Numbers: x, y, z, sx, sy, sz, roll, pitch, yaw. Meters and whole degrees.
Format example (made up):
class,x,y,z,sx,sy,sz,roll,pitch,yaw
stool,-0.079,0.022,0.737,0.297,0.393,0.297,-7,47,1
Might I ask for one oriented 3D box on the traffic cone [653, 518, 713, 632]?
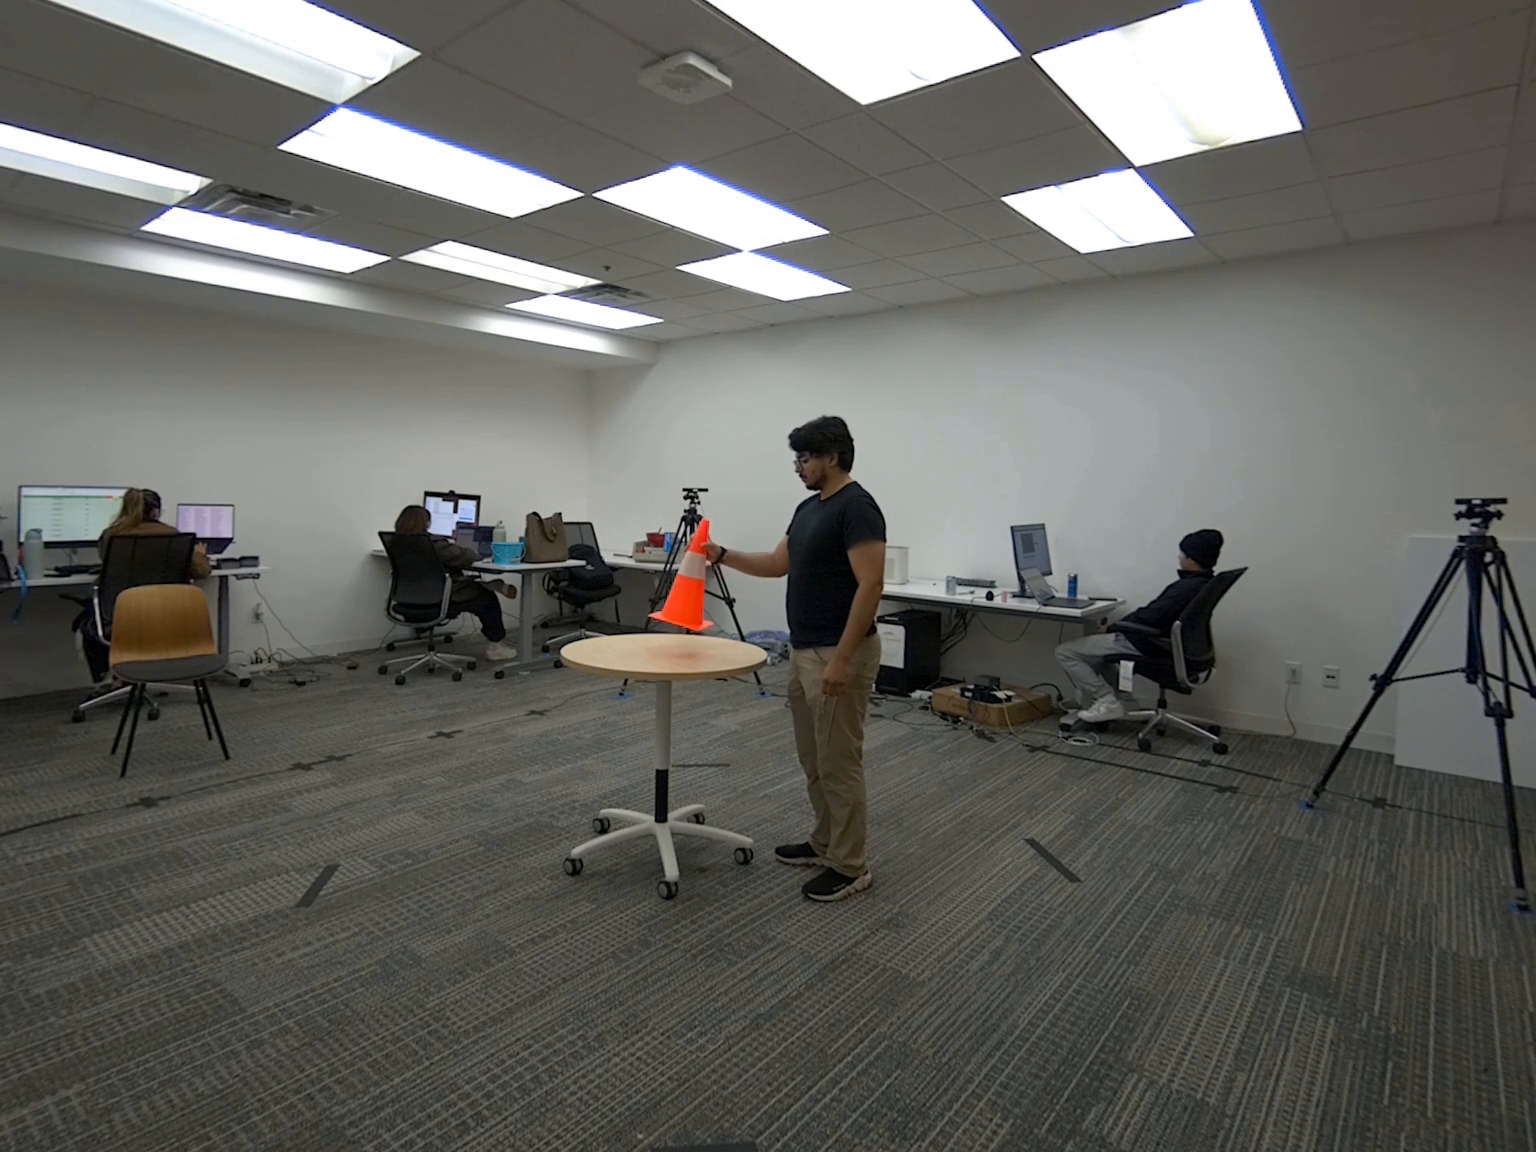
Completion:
class,x,y,z,sx,sy,sz,roll,pitch,yaw
traffic cone,-0.280,-0.011,3.097,0.209,0.382,0.200,12,5,14
